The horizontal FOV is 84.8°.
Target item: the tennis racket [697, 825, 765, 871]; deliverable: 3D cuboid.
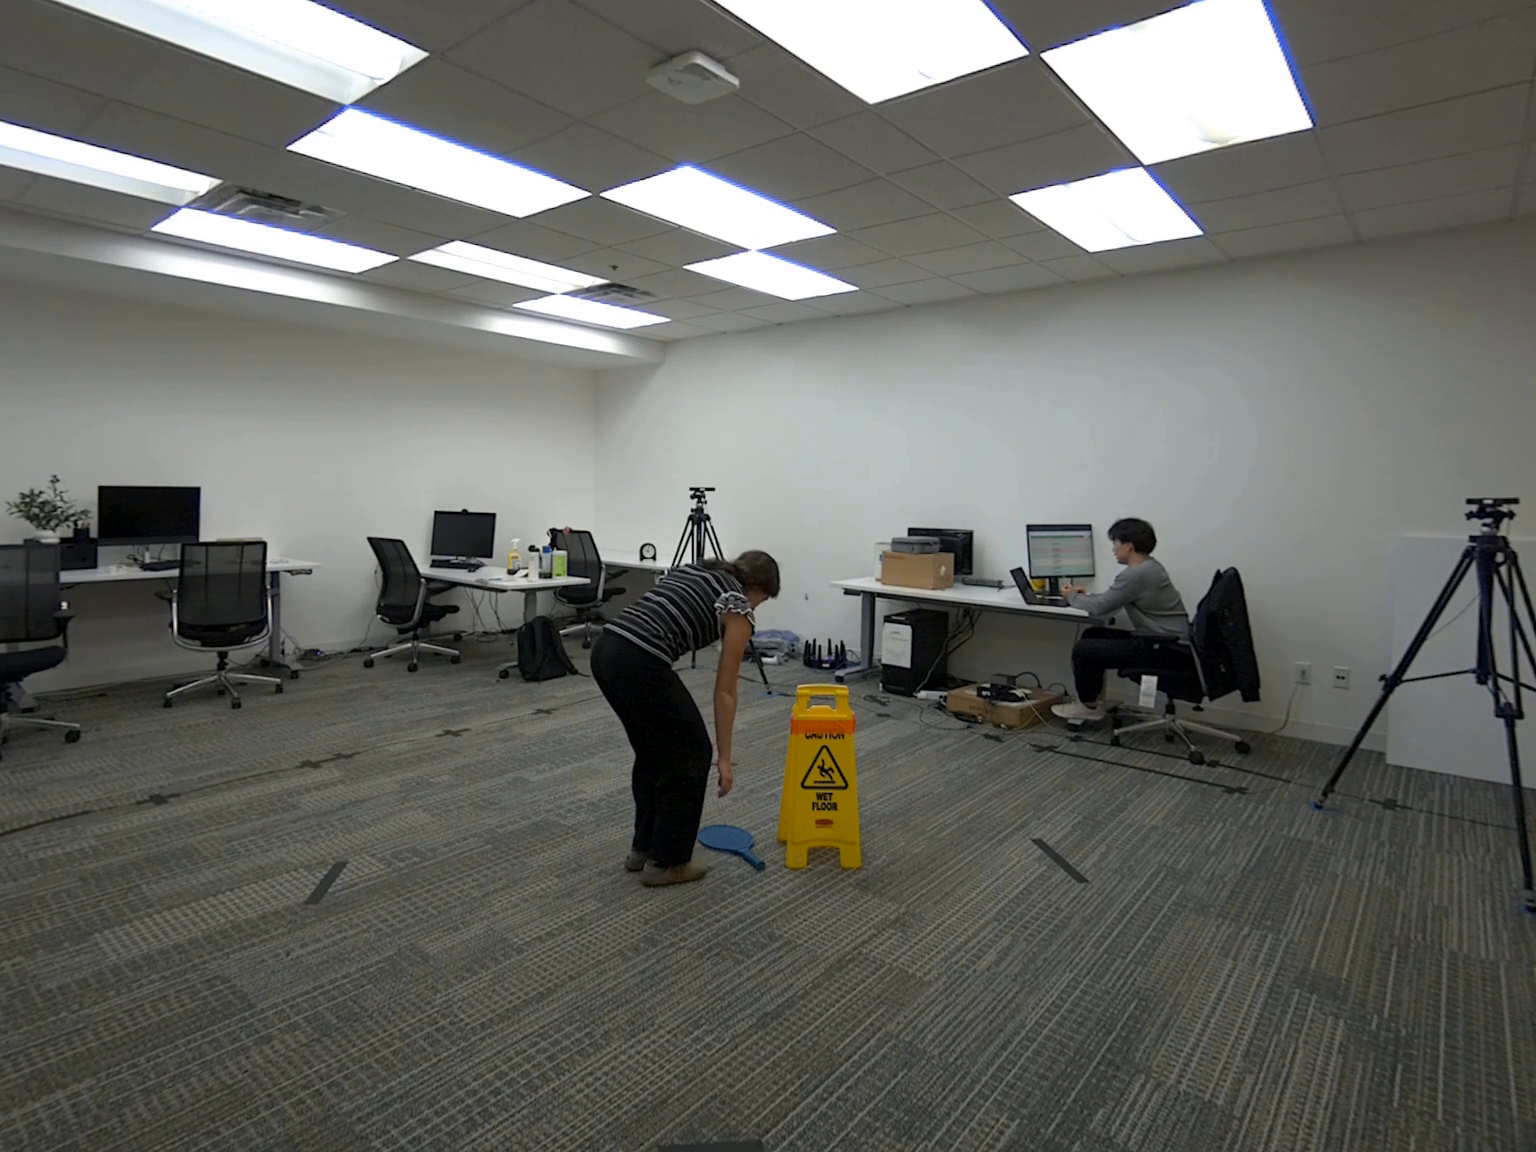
[{"bbox_3d":[-0.140,1.030,3.292,0.208,0.032,0.445,-2,5,-27],"label":"tennis racket"}]
